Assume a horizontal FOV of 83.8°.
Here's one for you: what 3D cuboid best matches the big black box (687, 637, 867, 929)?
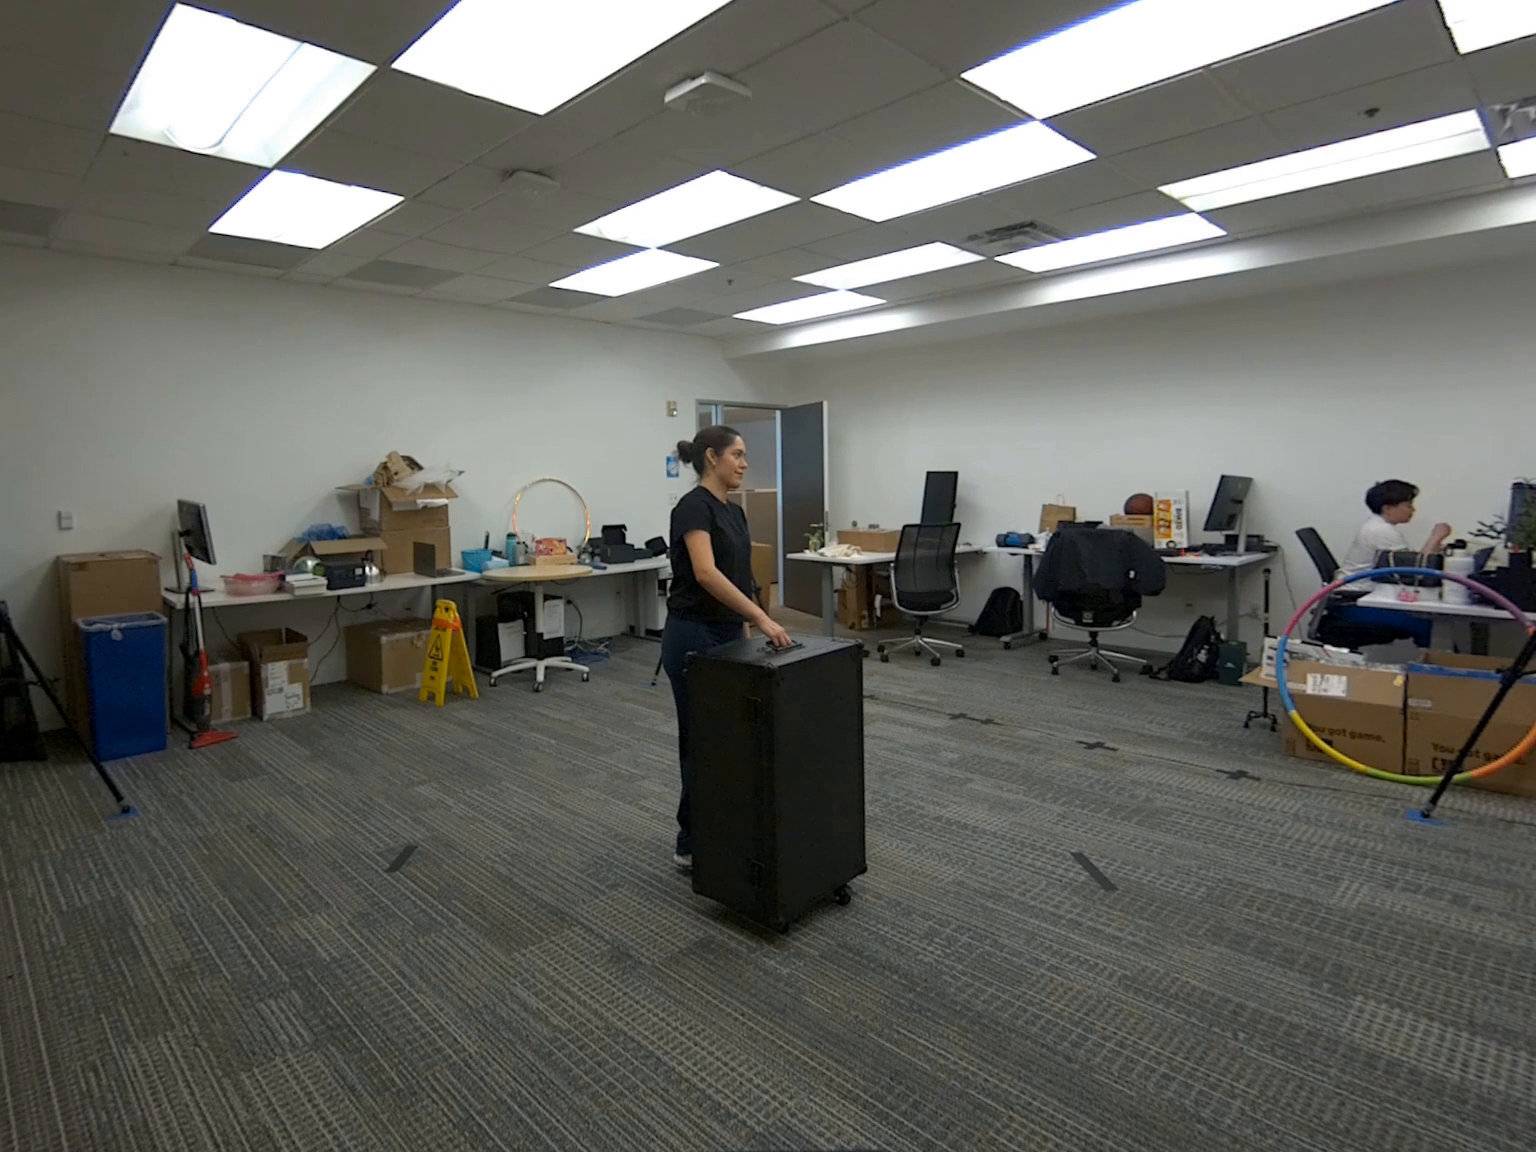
[{"bbox_3d":[0.044,0.652,2.798,0.408,0.859,0.508,2,5,40],"label":"big black box"}]
